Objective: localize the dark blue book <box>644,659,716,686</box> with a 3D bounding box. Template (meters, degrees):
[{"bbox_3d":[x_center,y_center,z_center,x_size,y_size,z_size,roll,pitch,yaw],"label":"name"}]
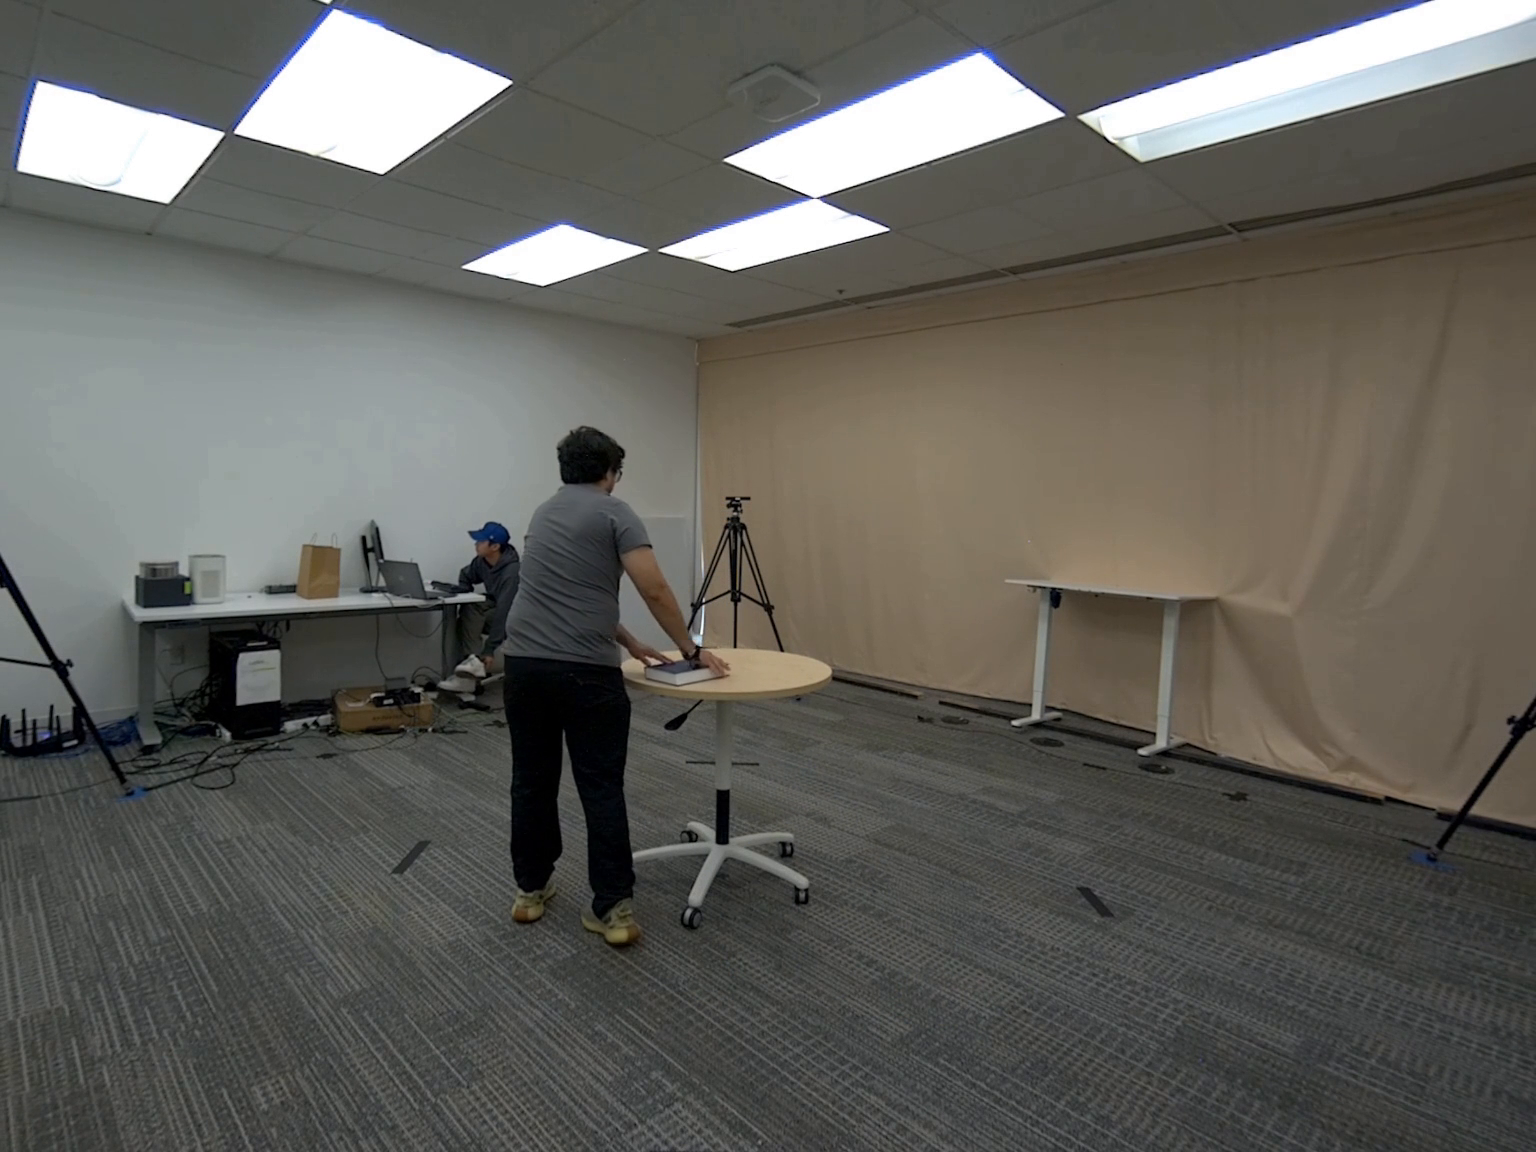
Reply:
[{"bbox_3d":[-0.285,0.325,2.850,0.167,0.045,0.240,6,7,40],"label":"dark blue book"}]
